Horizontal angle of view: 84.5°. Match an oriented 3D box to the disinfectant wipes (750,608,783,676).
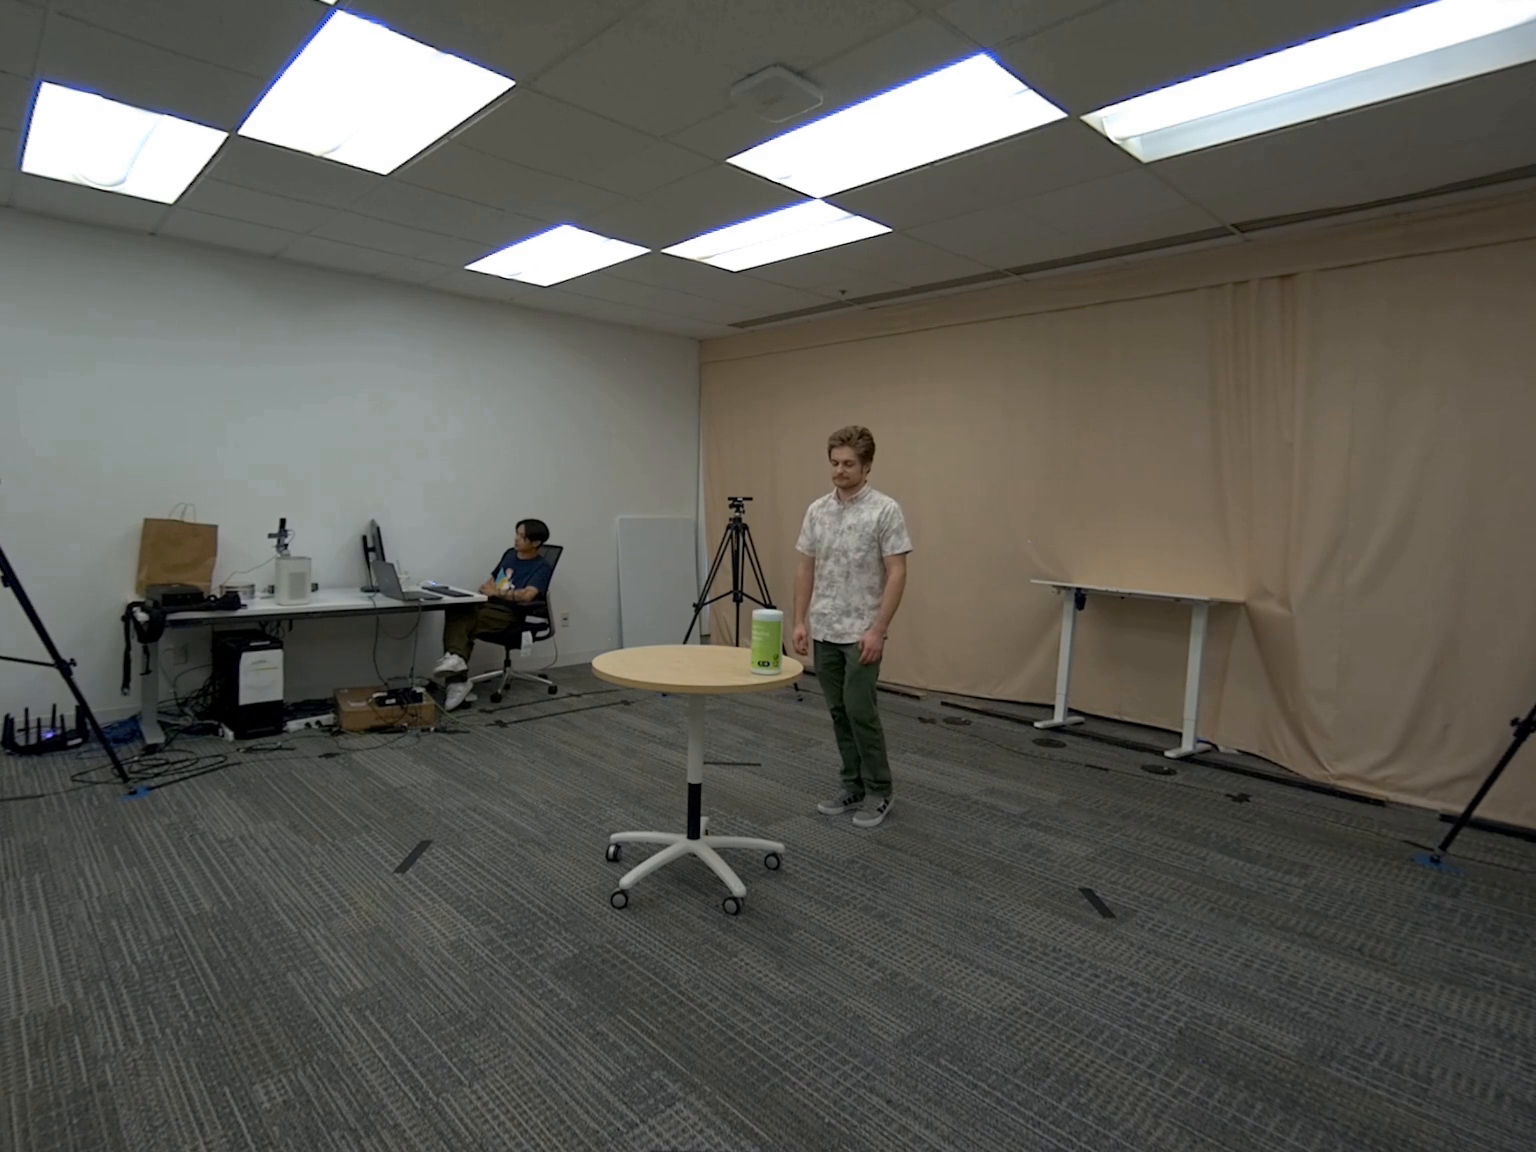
[{"bbox_3d":[-0.011,0.232,2.925,0.118,0.217,0.118,3,5,-2],"label":"disinfectant wipes"}]
